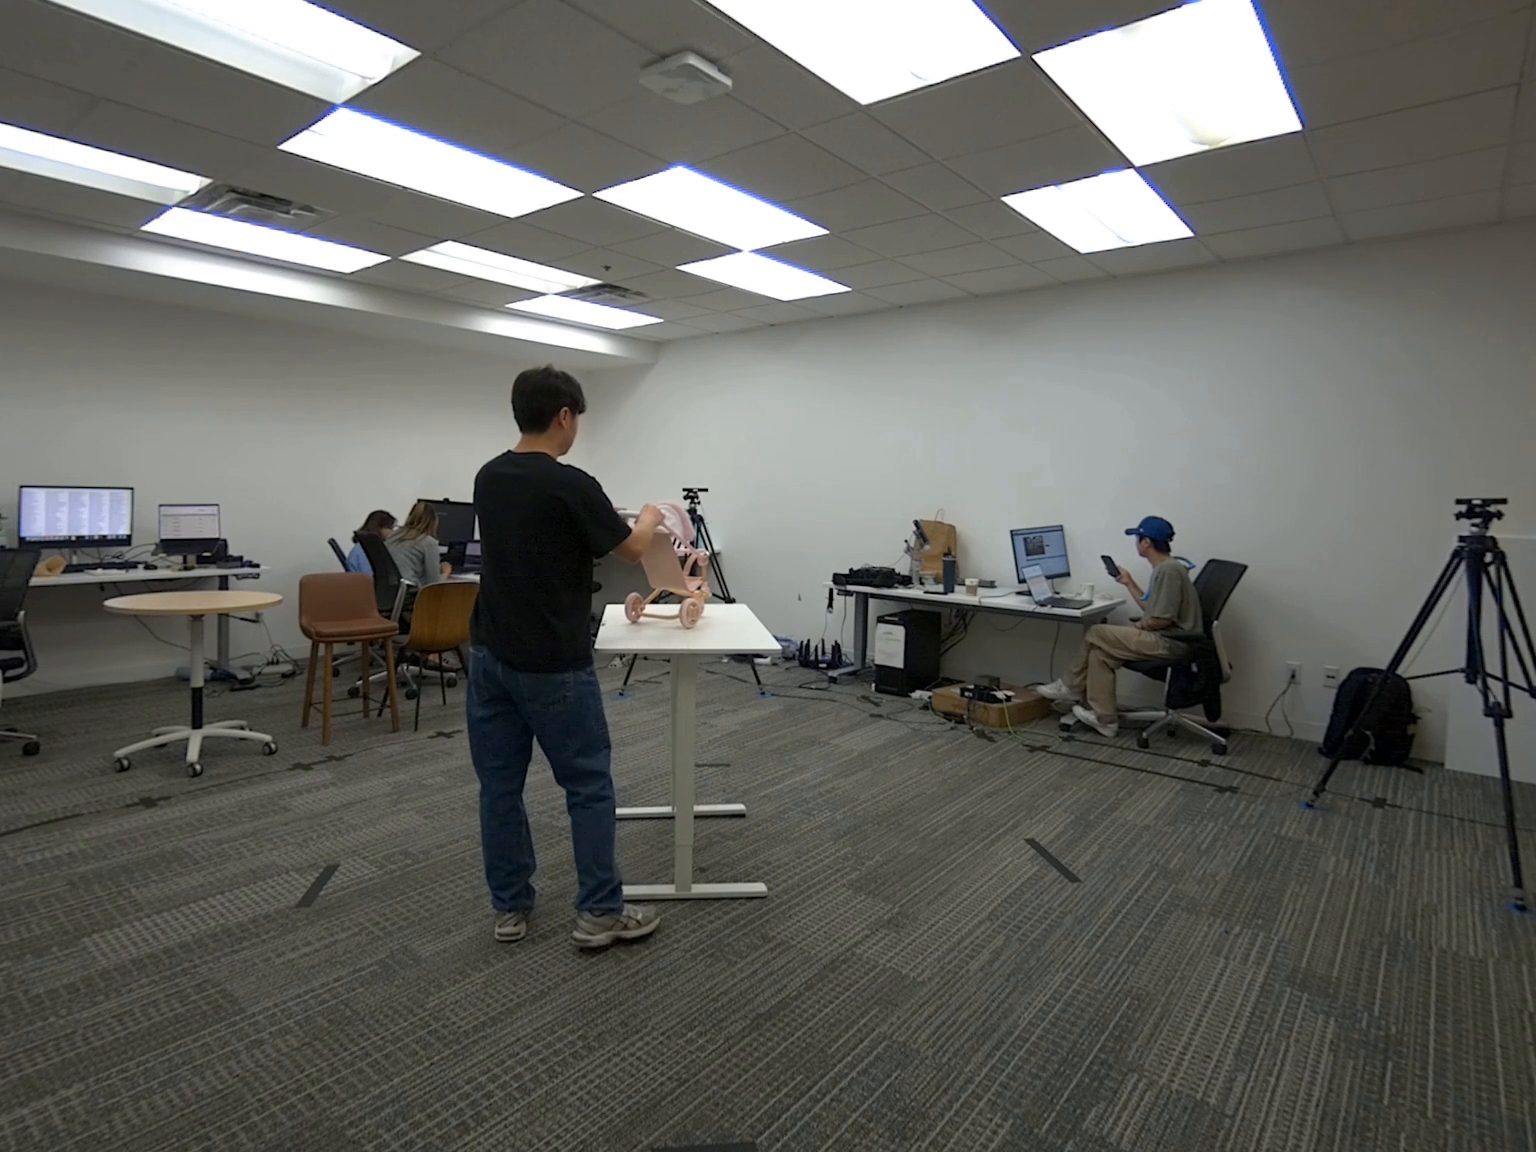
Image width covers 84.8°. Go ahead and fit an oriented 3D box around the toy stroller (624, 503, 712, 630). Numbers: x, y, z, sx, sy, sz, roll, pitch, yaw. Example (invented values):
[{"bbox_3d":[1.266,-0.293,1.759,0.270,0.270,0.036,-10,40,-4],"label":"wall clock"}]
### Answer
[{"bbox_3d":[-0.375,-0.046,3.190,0.290,0.525,0.337,4,21,33],"label":"toy stroller"}]
